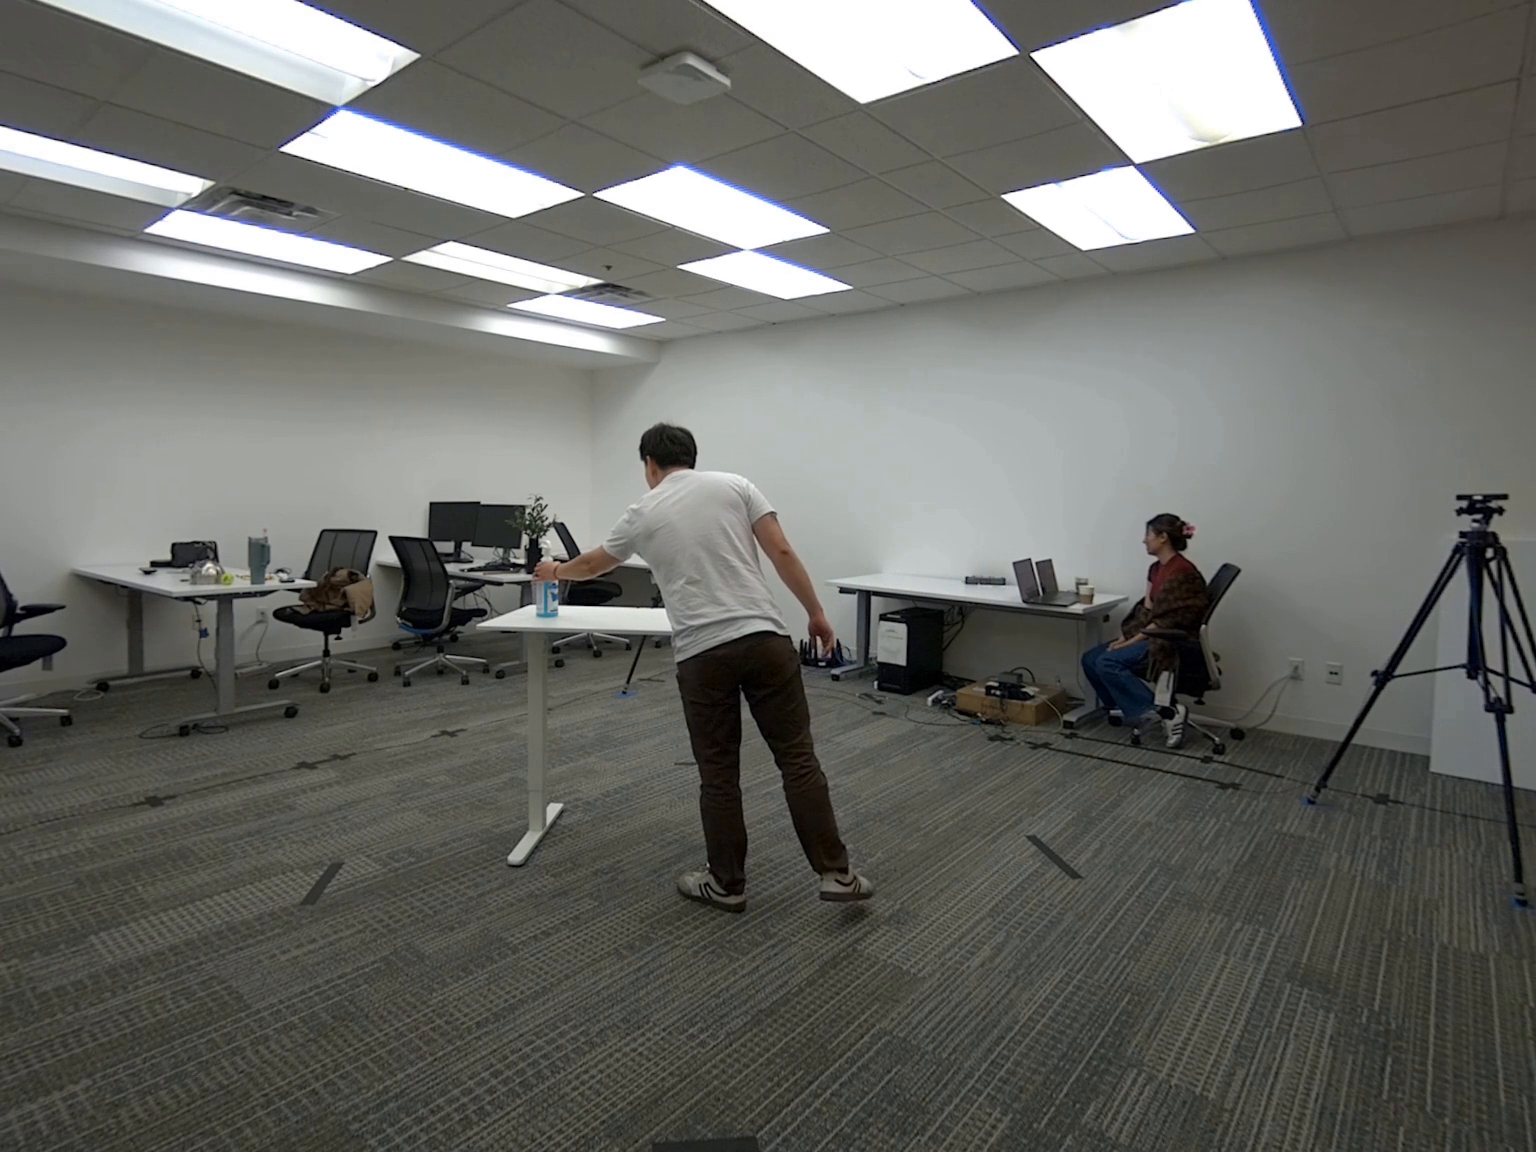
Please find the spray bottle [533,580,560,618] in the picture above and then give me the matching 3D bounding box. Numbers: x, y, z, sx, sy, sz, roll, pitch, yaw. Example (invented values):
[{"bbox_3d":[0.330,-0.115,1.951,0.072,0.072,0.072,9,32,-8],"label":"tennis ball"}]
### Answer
[{"bbox_3d":[-0.874,0.008,3.327,0.086,0.297,0.090,0,1,-6],"label":"spray bottle"}]
